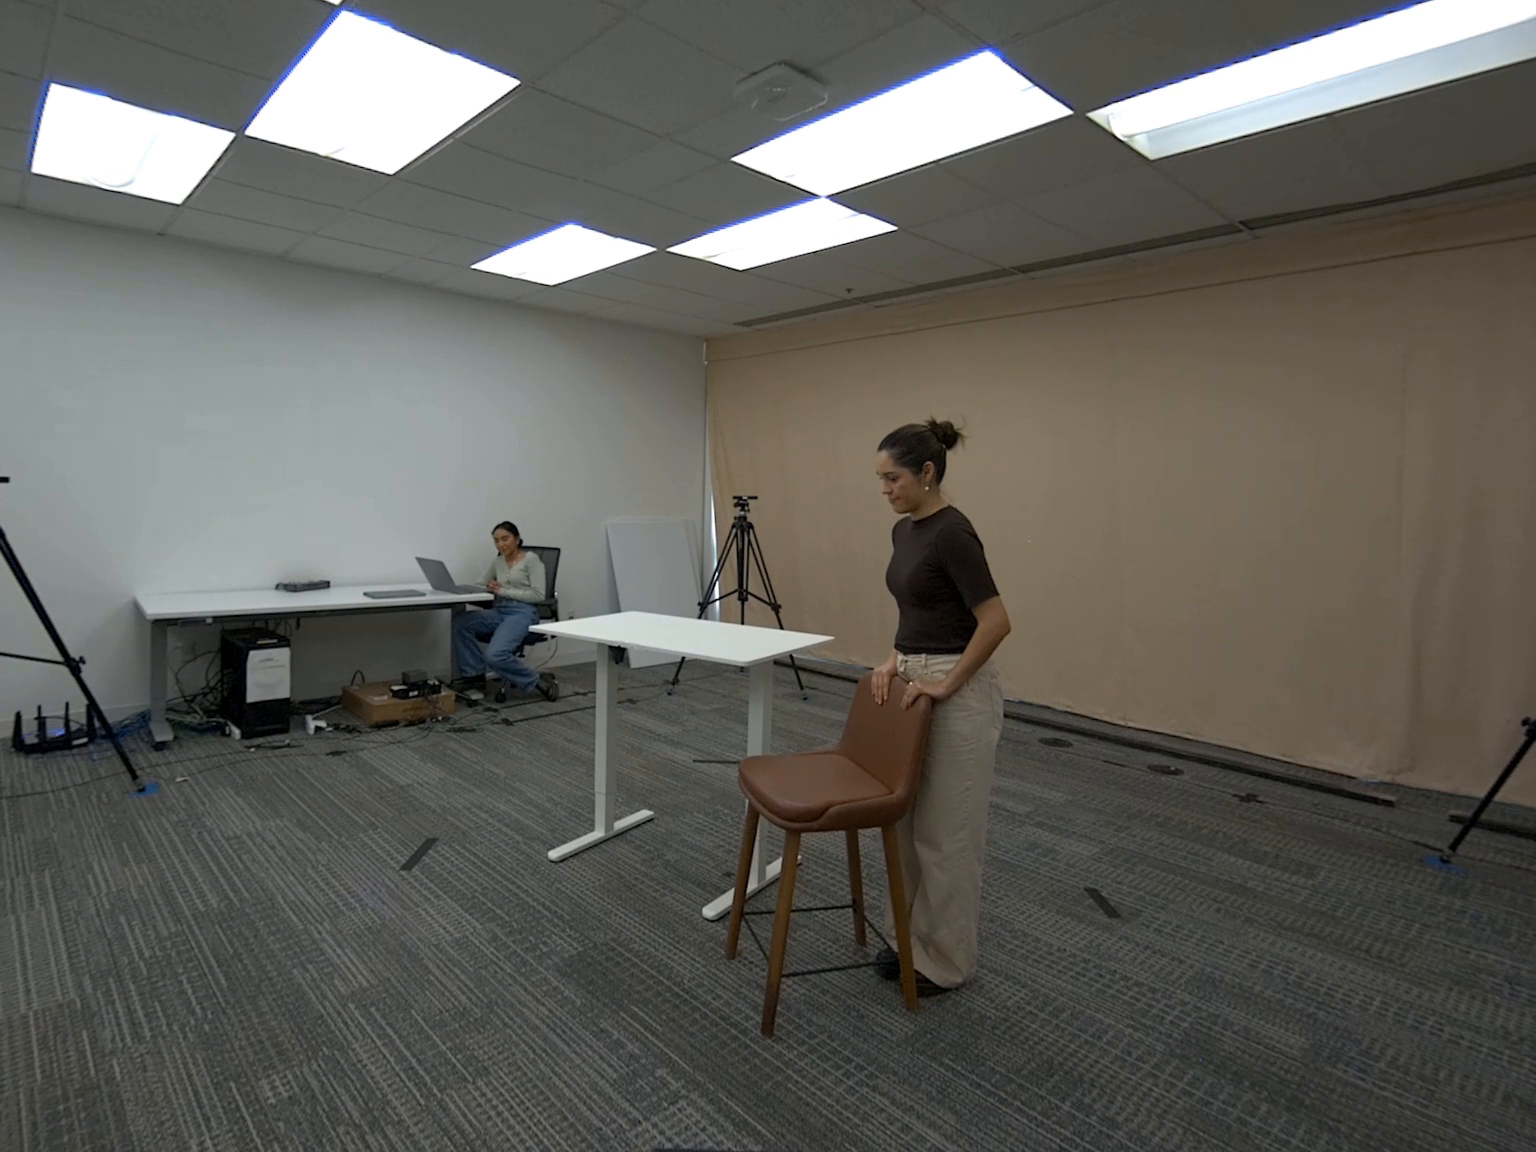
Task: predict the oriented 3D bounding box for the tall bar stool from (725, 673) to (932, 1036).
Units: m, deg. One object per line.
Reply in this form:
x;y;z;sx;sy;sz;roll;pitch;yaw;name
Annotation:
0.159;0.739;2.390;0.462;0.887;0.463;3;4;-15;tall bar stool
